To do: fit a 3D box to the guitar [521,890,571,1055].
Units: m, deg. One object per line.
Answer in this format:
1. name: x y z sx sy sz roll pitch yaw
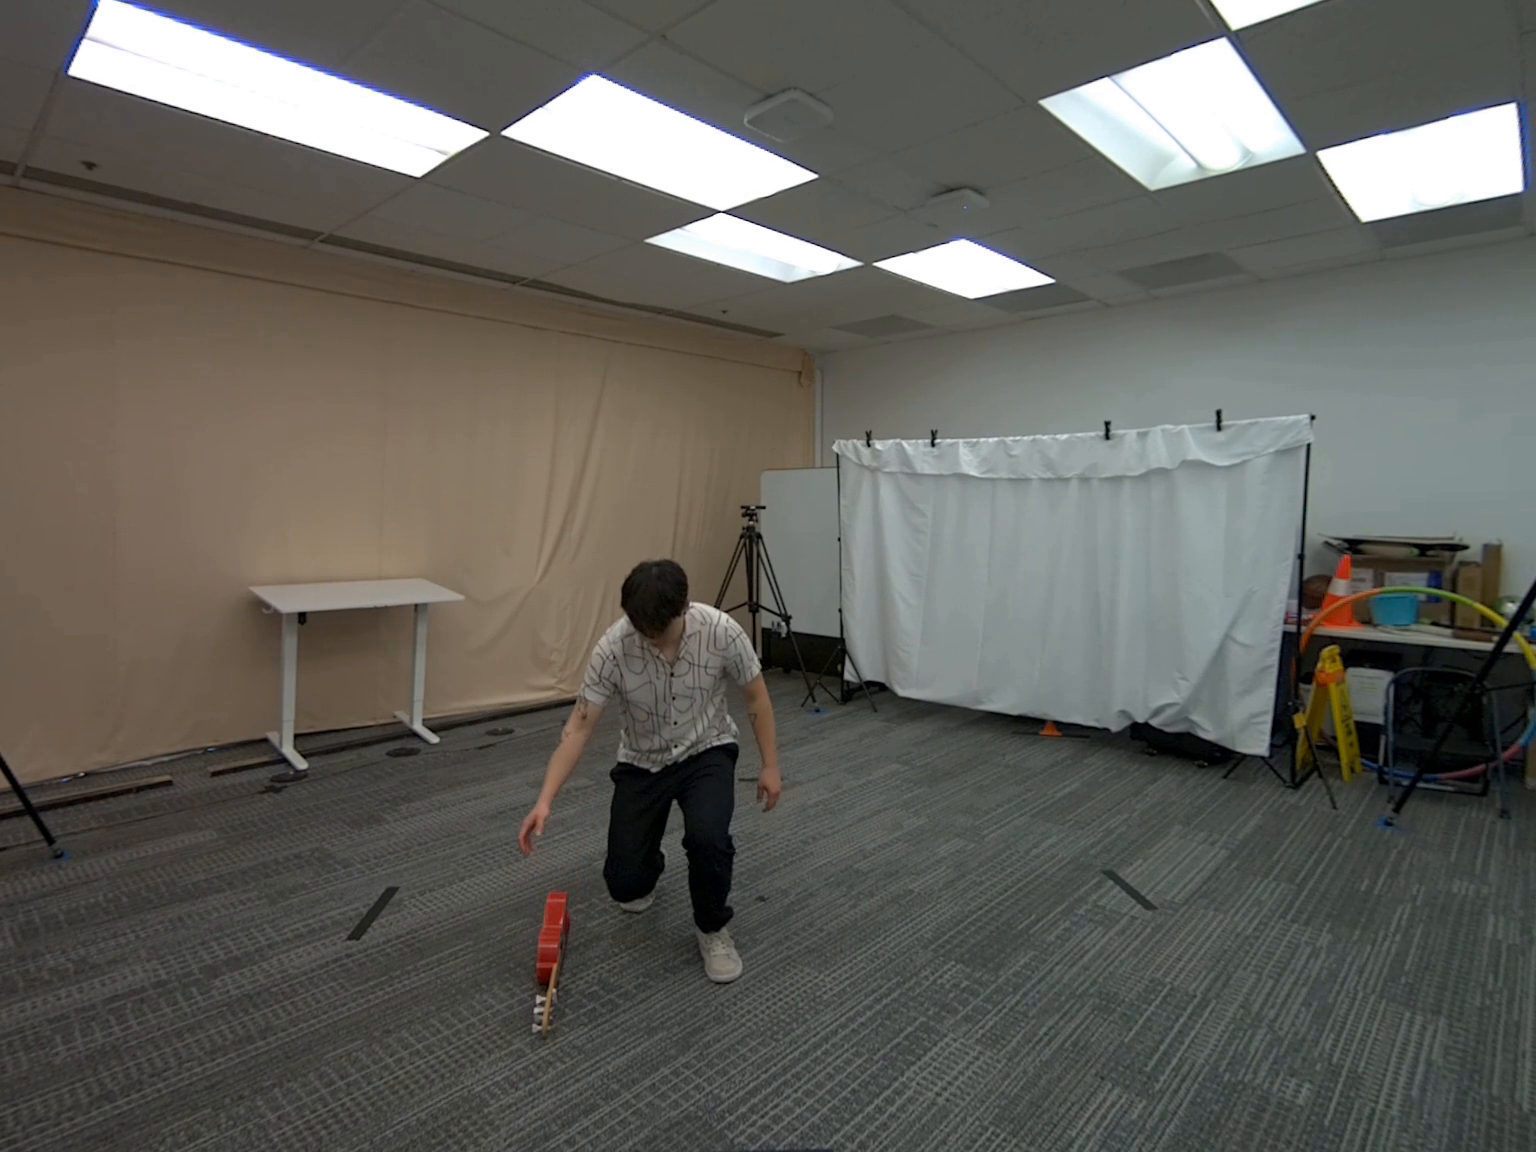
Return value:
1. guitar: -0.630 1.110 2.423 0.070 0.192 0.502 3 5 -8
